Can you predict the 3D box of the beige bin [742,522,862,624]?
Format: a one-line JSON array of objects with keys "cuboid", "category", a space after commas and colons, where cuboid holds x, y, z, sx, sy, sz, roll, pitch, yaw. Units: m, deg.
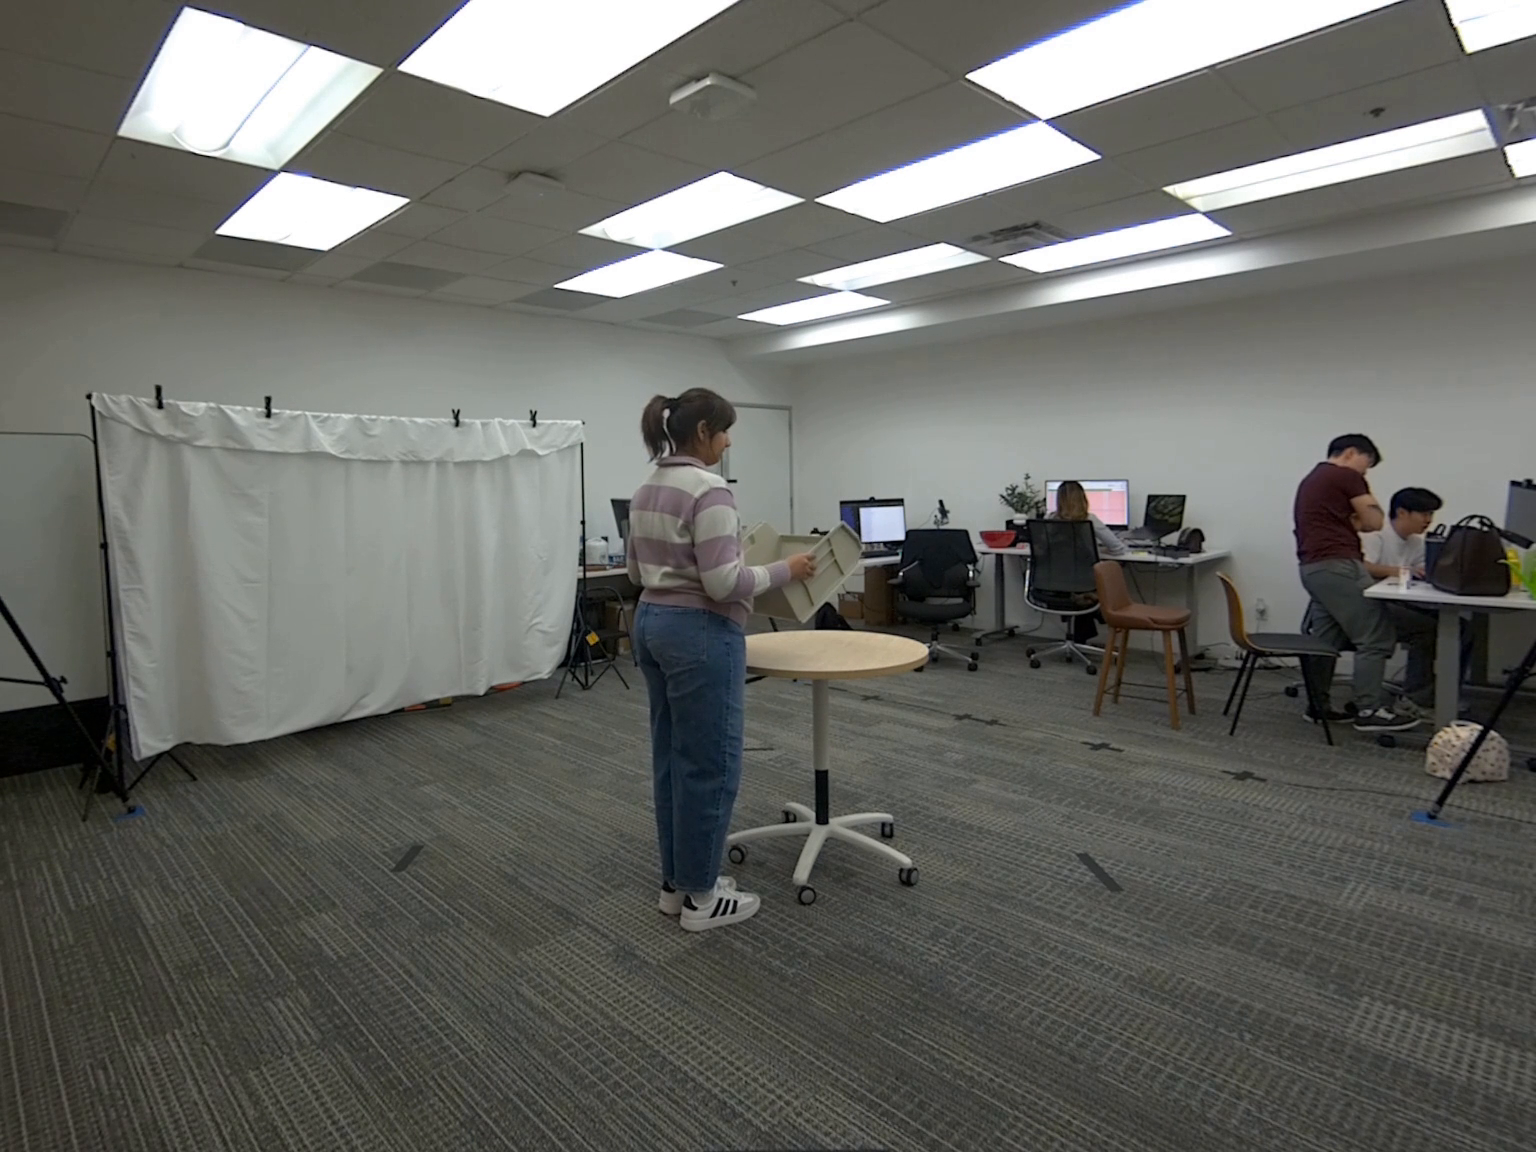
[{"cuboid": [0.062, -0.037, 2.951, 0.376, 0.184, 0.435, -43, 28, -29], "category": "beige bin"}]
